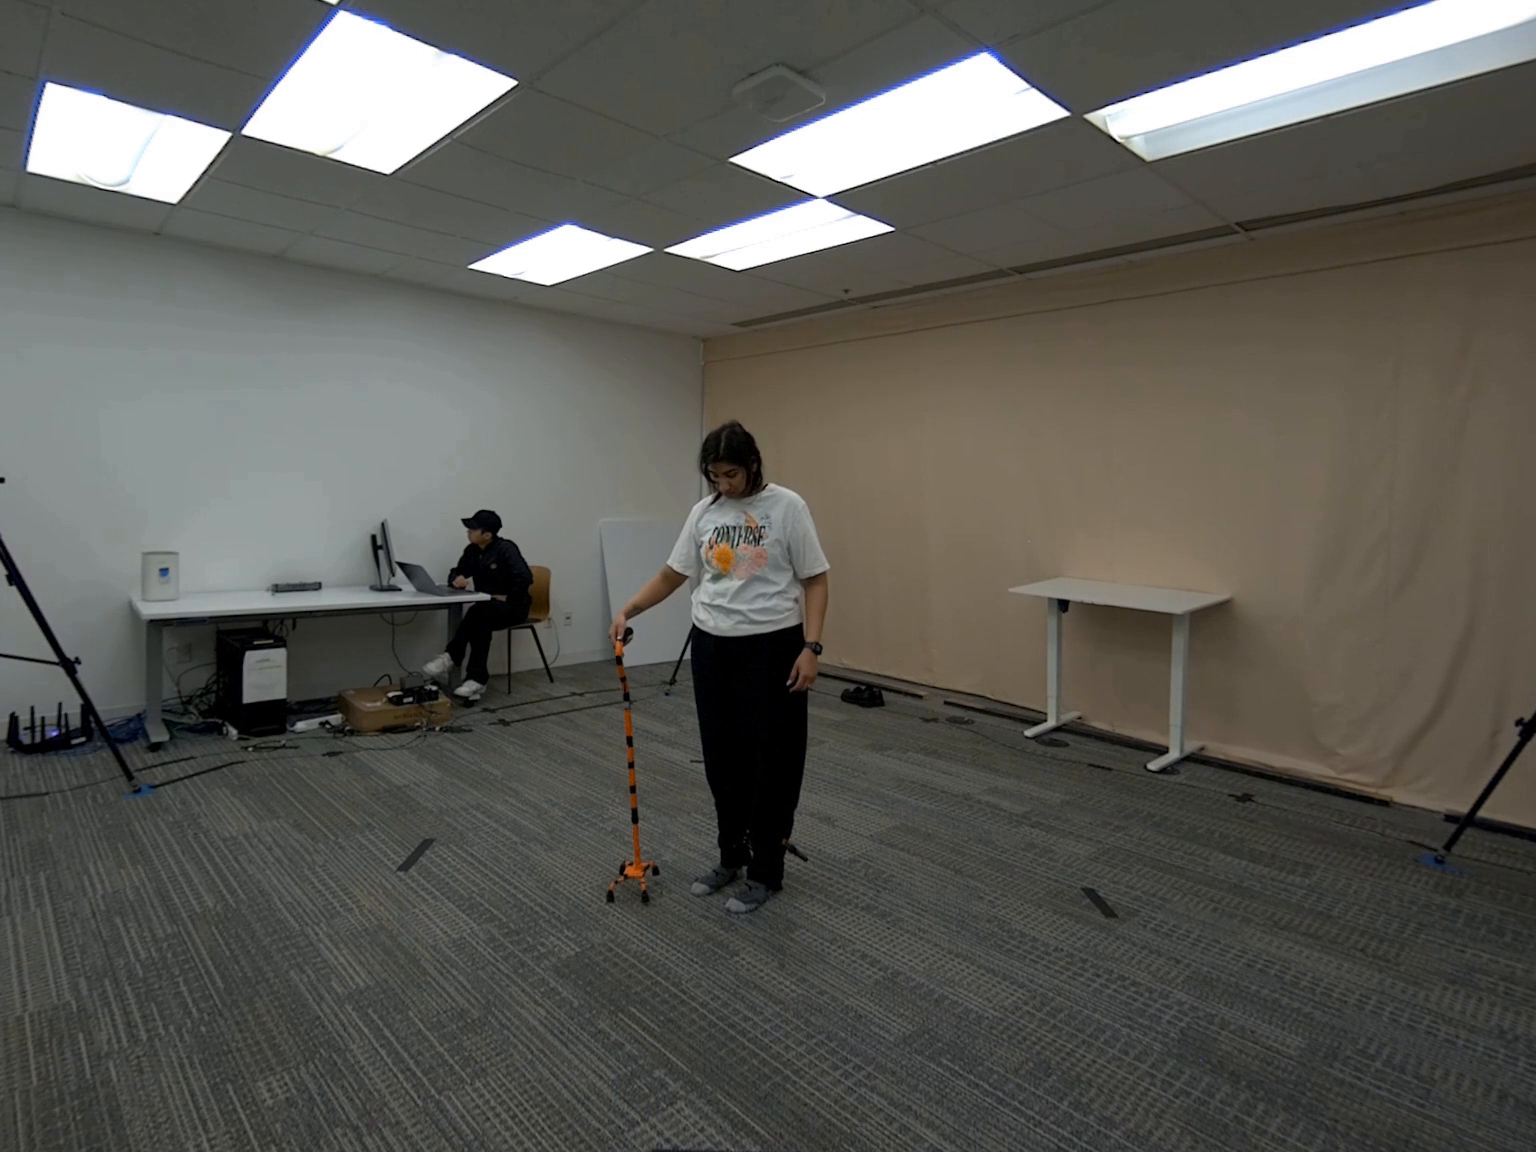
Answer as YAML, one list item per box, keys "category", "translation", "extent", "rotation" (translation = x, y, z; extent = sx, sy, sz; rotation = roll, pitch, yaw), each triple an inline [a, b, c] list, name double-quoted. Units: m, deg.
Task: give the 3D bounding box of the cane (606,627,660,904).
- category: "cane"
  translation: [-0.498, 0.640, 2.906]
  extent: [0.152, 0.903, 0.206]
  rotation: [-1, 6, 6]
